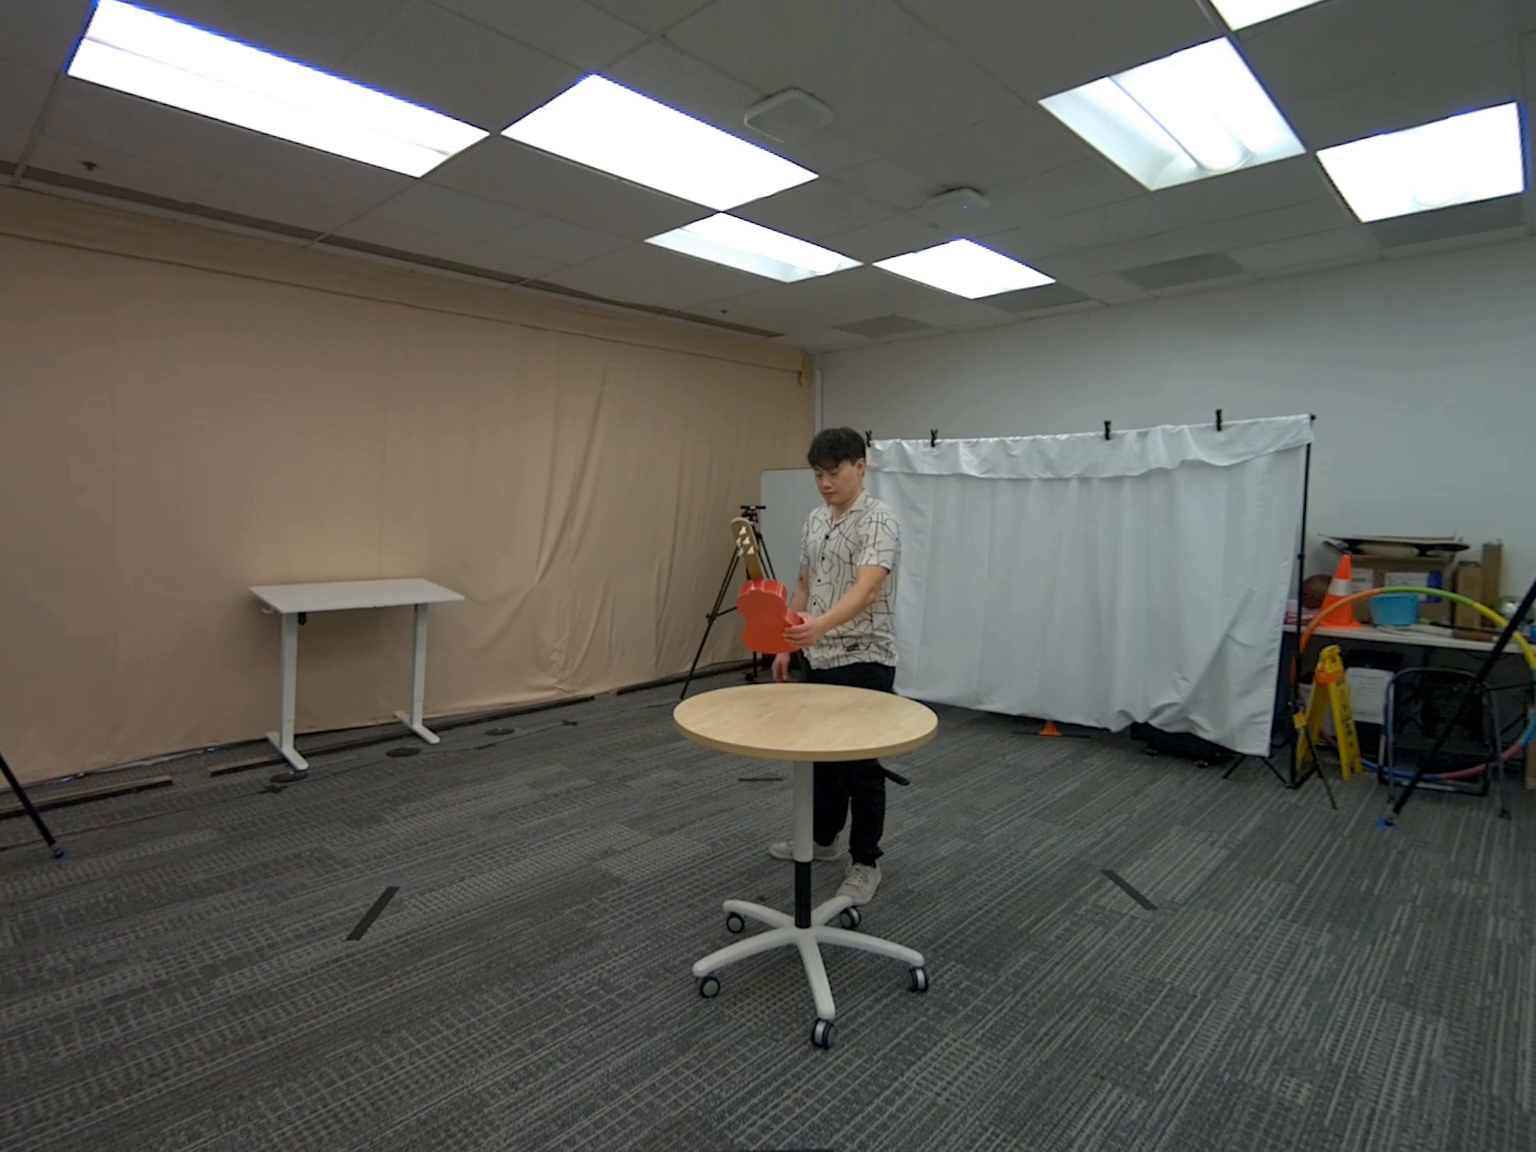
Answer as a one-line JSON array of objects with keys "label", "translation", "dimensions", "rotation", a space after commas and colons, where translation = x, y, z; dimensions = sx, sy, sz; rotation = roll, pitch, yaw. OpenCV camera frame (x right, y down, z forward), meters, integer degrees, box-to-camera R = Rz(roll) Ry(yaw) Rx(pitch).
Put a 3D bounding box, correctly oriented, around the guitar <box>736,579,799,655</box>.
[{"label": "guitar", "translation": [-0.045, 0.044, 2.505], "dimensions": [0.197, 0.483, 0.071], "rotation": [-12, 37, 24]}]
